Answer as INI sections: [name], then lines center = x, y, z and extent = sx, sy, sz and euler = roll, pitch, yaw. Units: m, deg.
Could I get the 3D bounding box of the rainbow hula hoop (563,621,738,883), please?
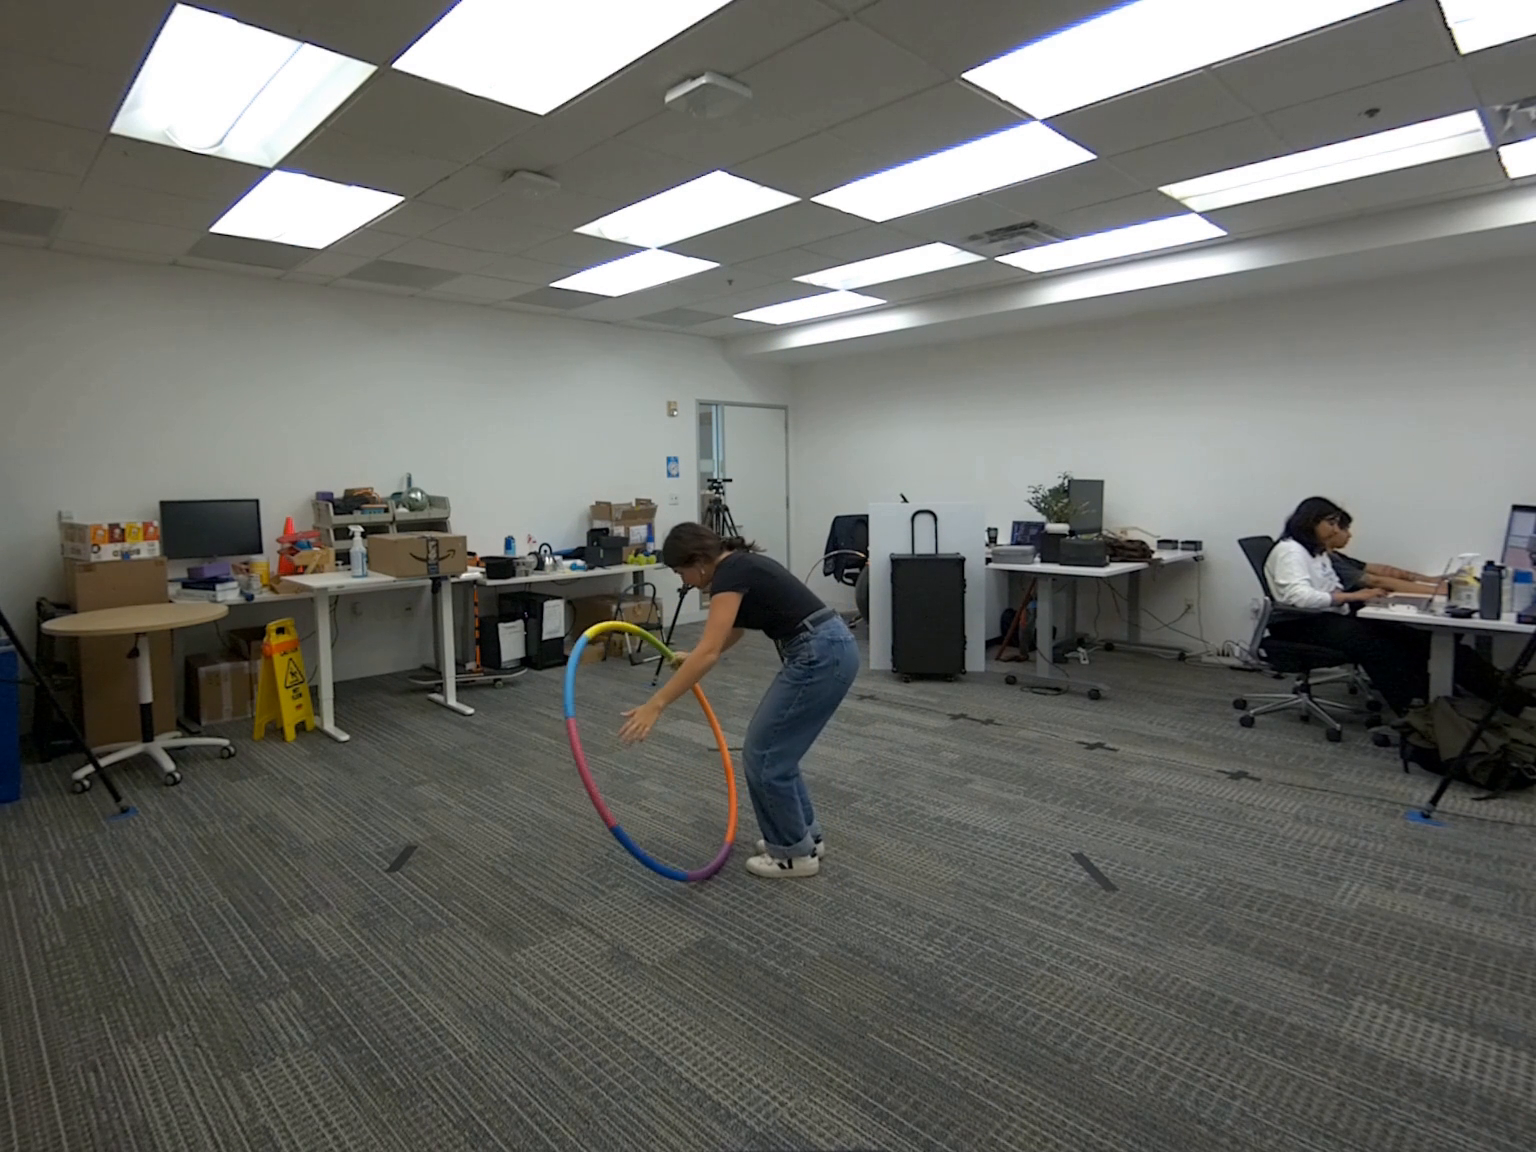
[rainbow hula hoop]
center = -0.400, 0.618, 3.135
extent = 0.036, 0.987, 0.964
euler = -31, -6, 19
